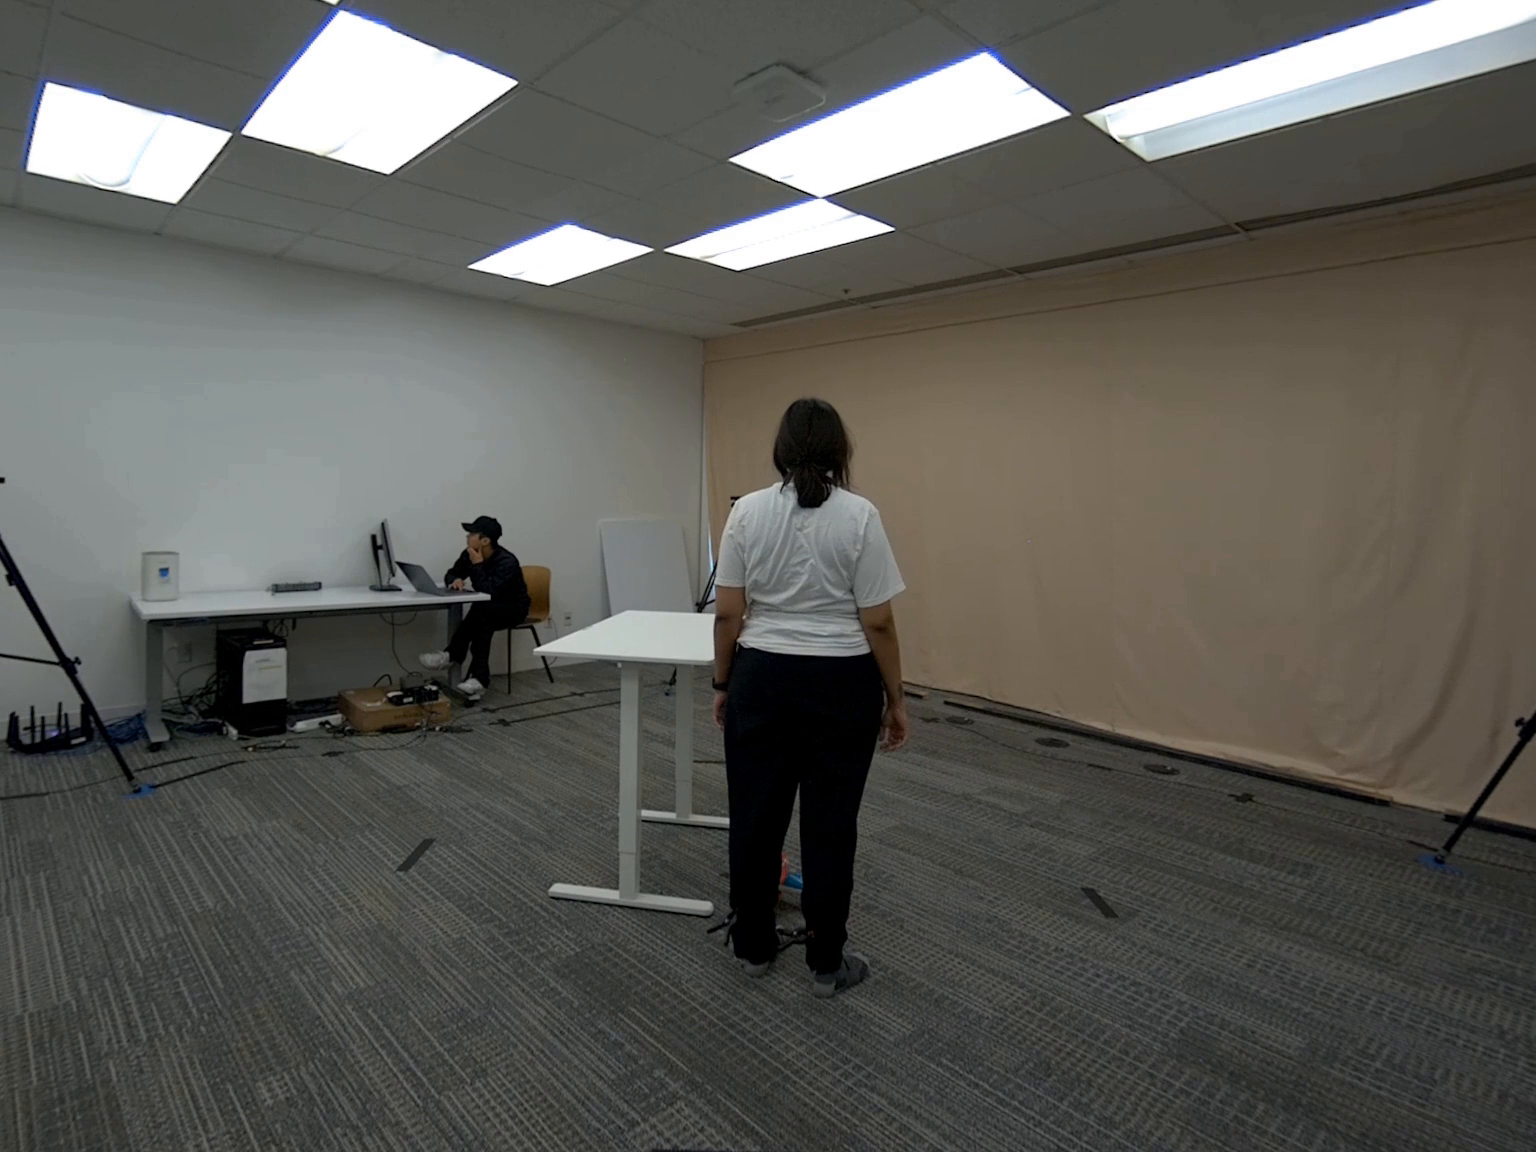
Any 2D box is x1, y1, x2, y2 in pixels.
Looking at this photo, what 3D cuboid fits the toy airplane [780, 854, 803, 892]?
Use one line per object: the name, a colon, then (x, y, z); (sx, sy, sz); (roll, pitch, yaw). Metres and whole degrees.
toy airplane: (0.041, 1.067, 2.901); (0.254, 0.156, 0.257); (1, 7, -28)
